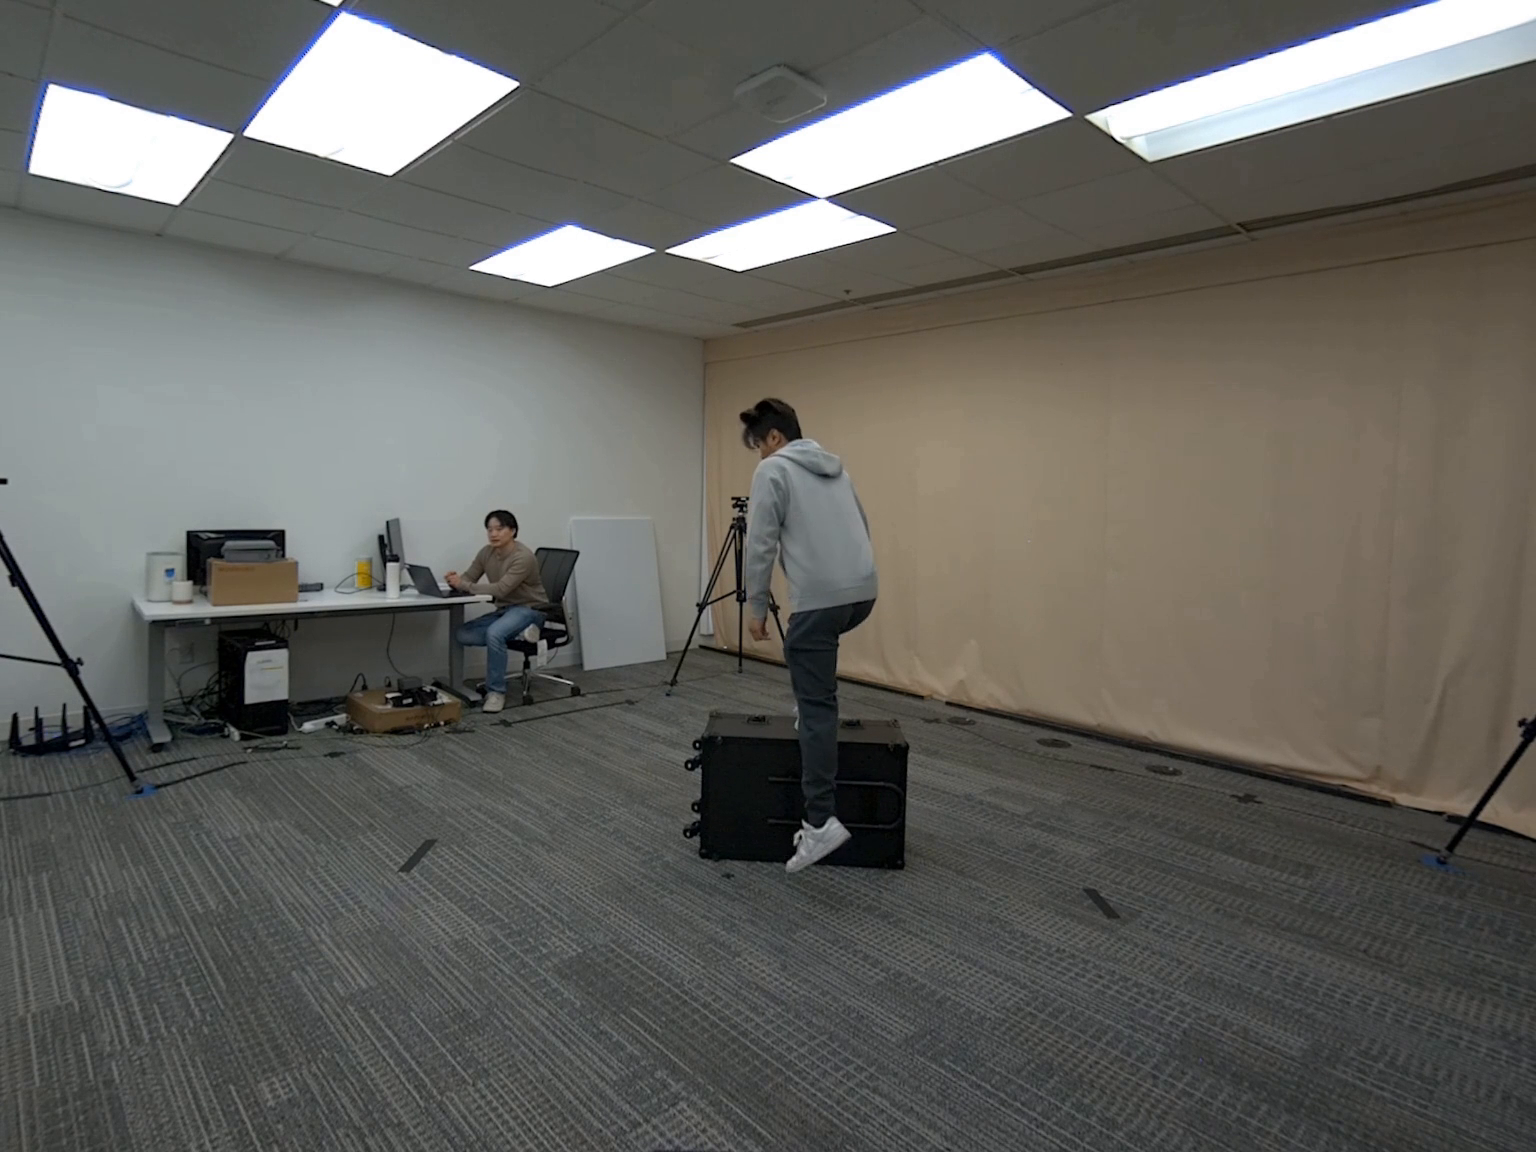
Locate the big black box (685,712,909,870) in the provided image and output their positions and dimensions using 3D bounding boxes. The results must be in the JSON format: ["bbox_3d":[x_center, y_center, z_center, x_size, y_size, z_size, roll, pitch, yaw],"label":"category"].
[{"bbox_3d":[0.099,0.848,3.371,0.865,0.520,0.396,2,4,4],"label":"big black box"}]
